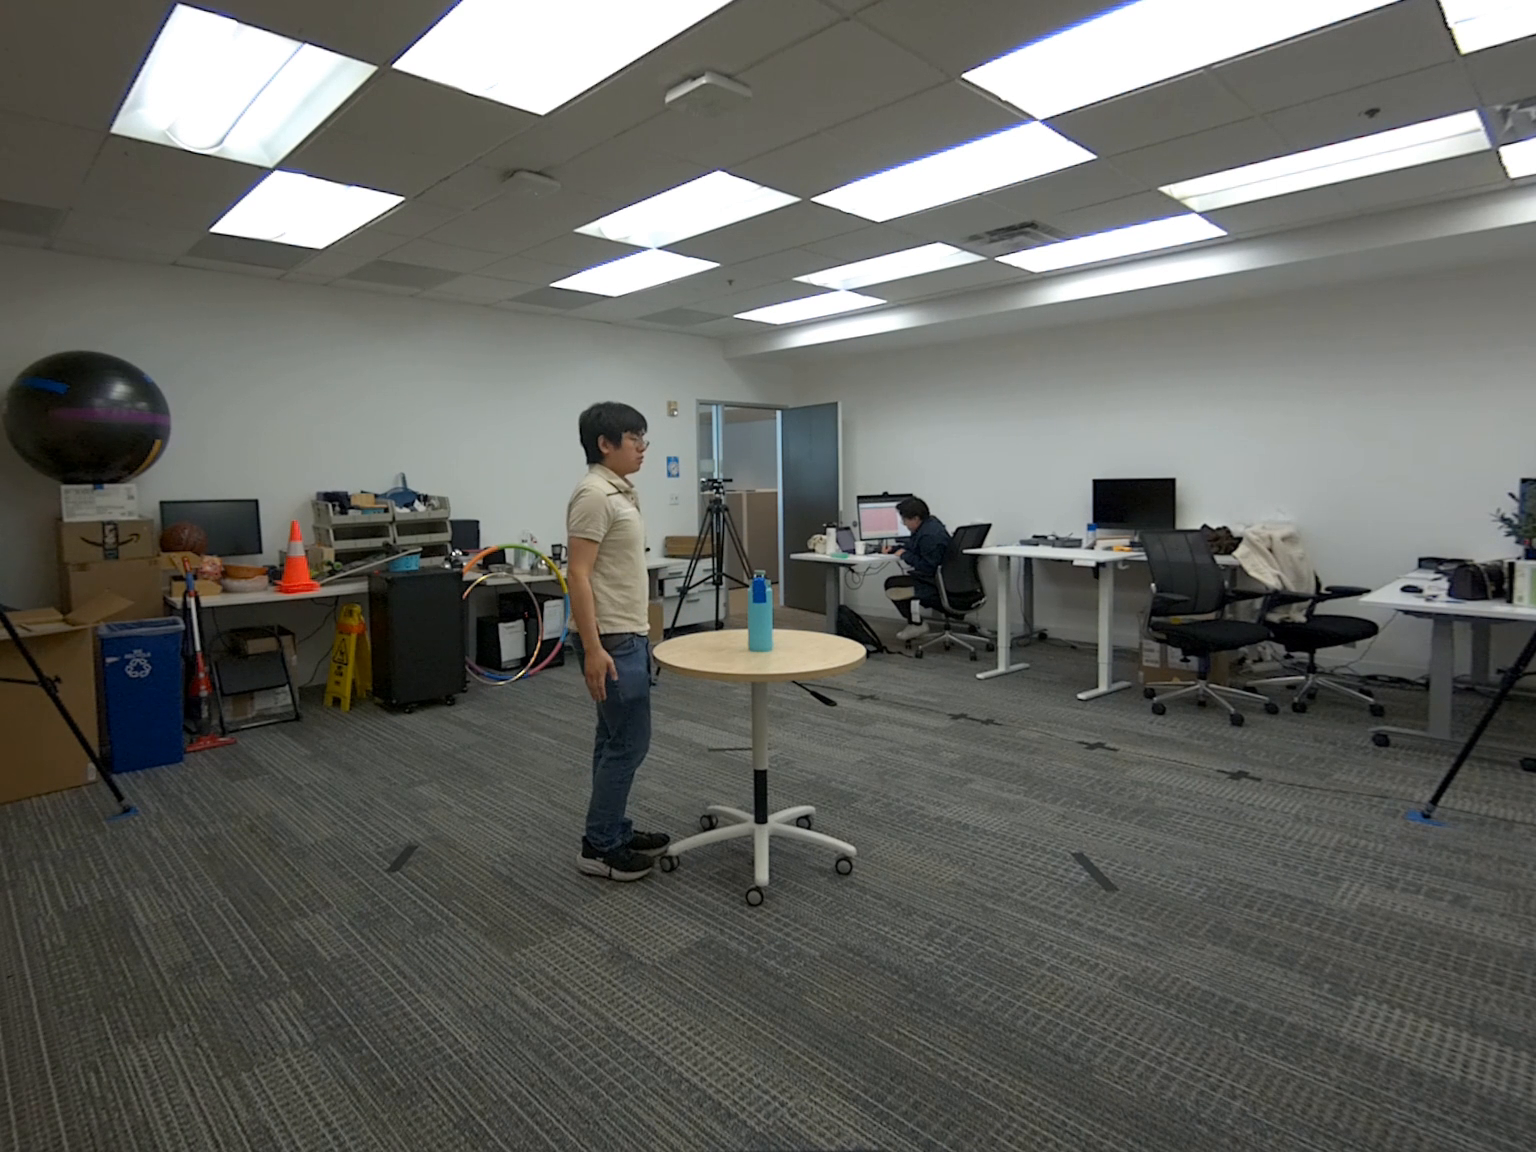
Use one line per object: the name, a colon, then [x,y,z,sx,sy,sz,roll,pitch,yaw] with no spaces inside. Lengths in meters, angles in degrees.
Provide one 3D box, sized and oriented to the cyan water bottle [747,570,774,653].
cyan water bottle: [-0.036,0.126,3.072,0.092,0.283,0.092,-3,1,-2]
